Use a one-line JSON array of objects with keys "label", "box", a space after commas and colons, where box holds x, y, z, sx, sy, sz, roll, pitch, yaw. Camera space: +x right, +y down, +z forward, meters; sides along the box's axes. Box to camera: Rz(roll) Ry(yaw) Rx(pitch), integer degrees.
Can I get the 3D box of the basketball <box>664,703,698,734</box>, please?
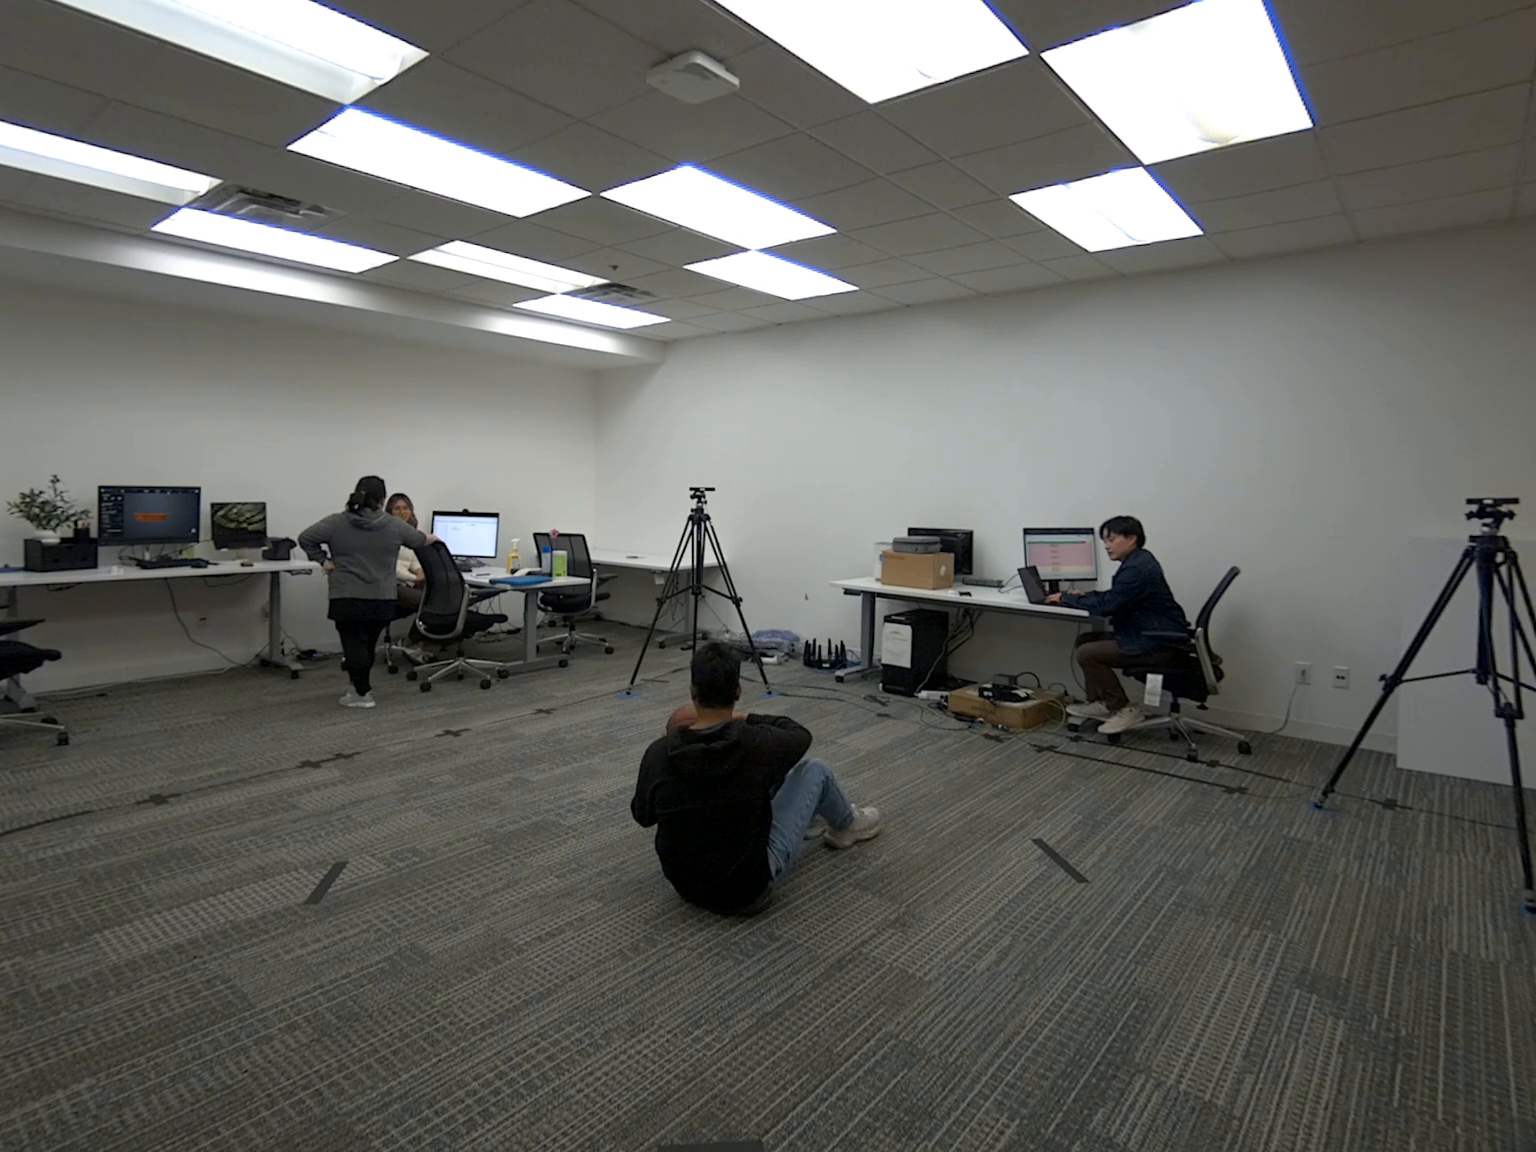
[{"label": "basketball", "box": [-0.300, 0.640, 3.364, 0.235, 0.235, 0.237, 1, 4, -2]}]
